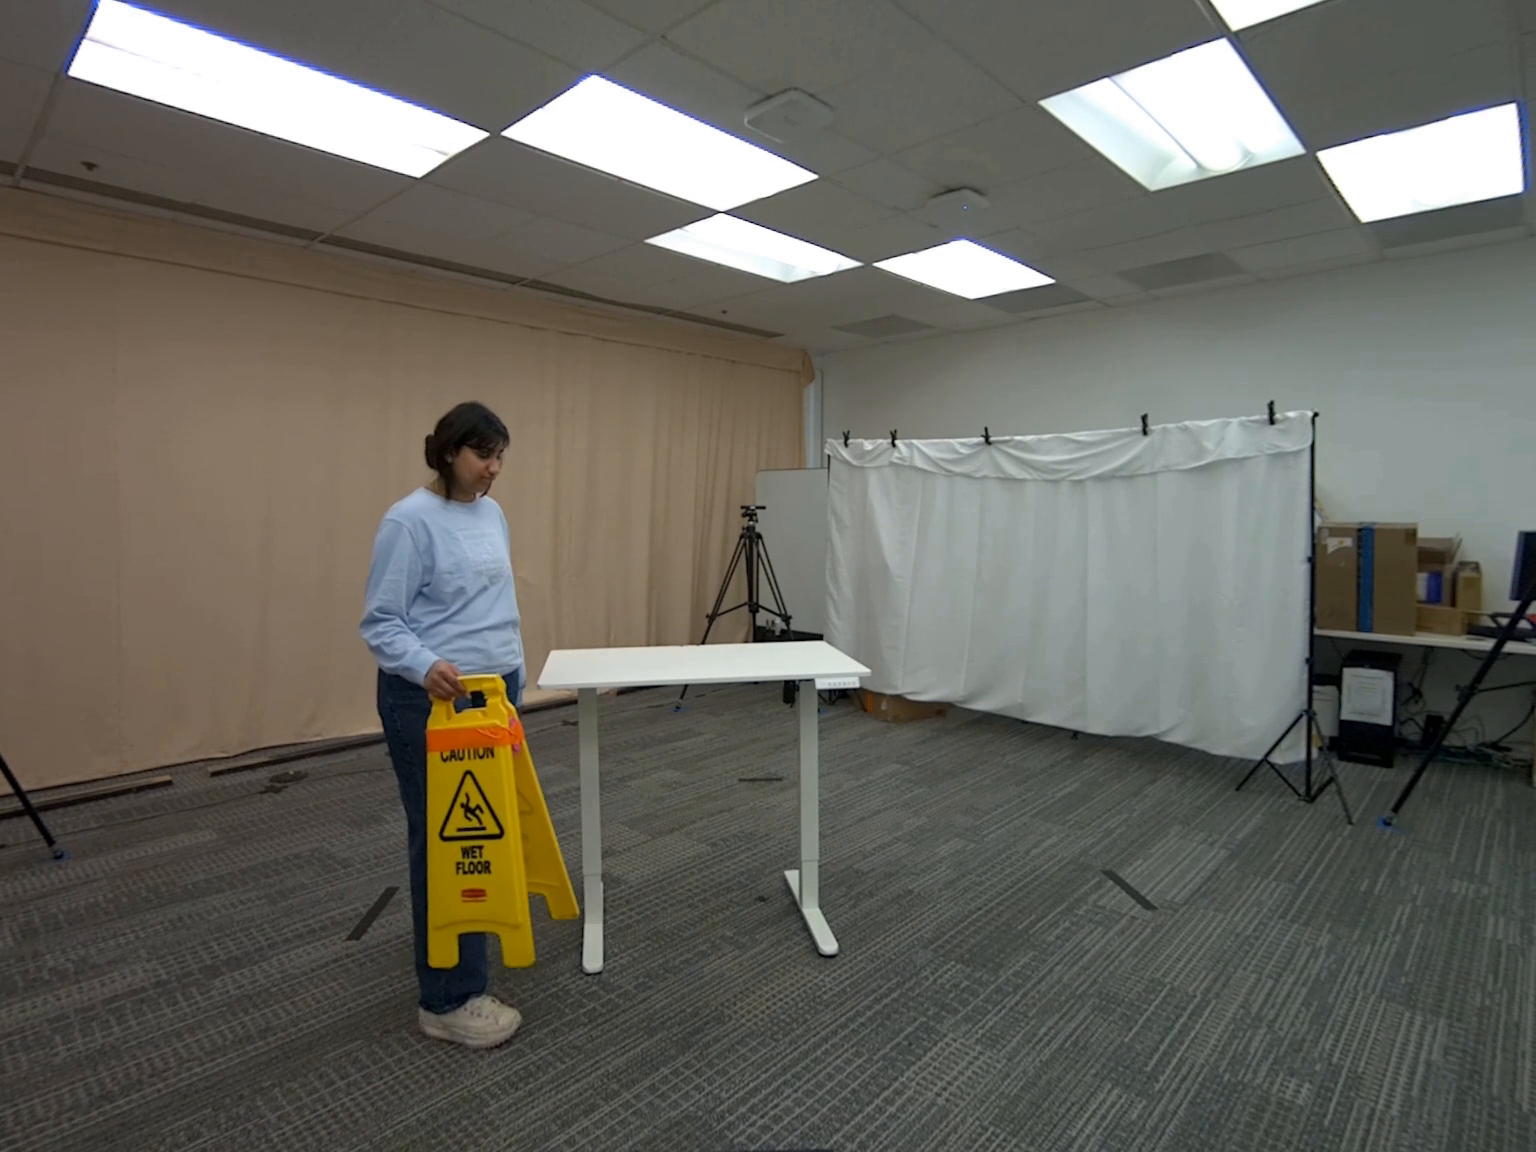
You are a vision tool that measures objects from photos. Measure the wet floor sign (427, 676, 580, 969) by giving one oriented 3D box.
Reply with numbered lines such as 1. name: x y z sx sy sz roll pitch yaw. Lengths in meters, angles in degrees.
1. wet floor sign: -0.683 0.575 2.038 0.286 0.646 0.286 -10 0 14
